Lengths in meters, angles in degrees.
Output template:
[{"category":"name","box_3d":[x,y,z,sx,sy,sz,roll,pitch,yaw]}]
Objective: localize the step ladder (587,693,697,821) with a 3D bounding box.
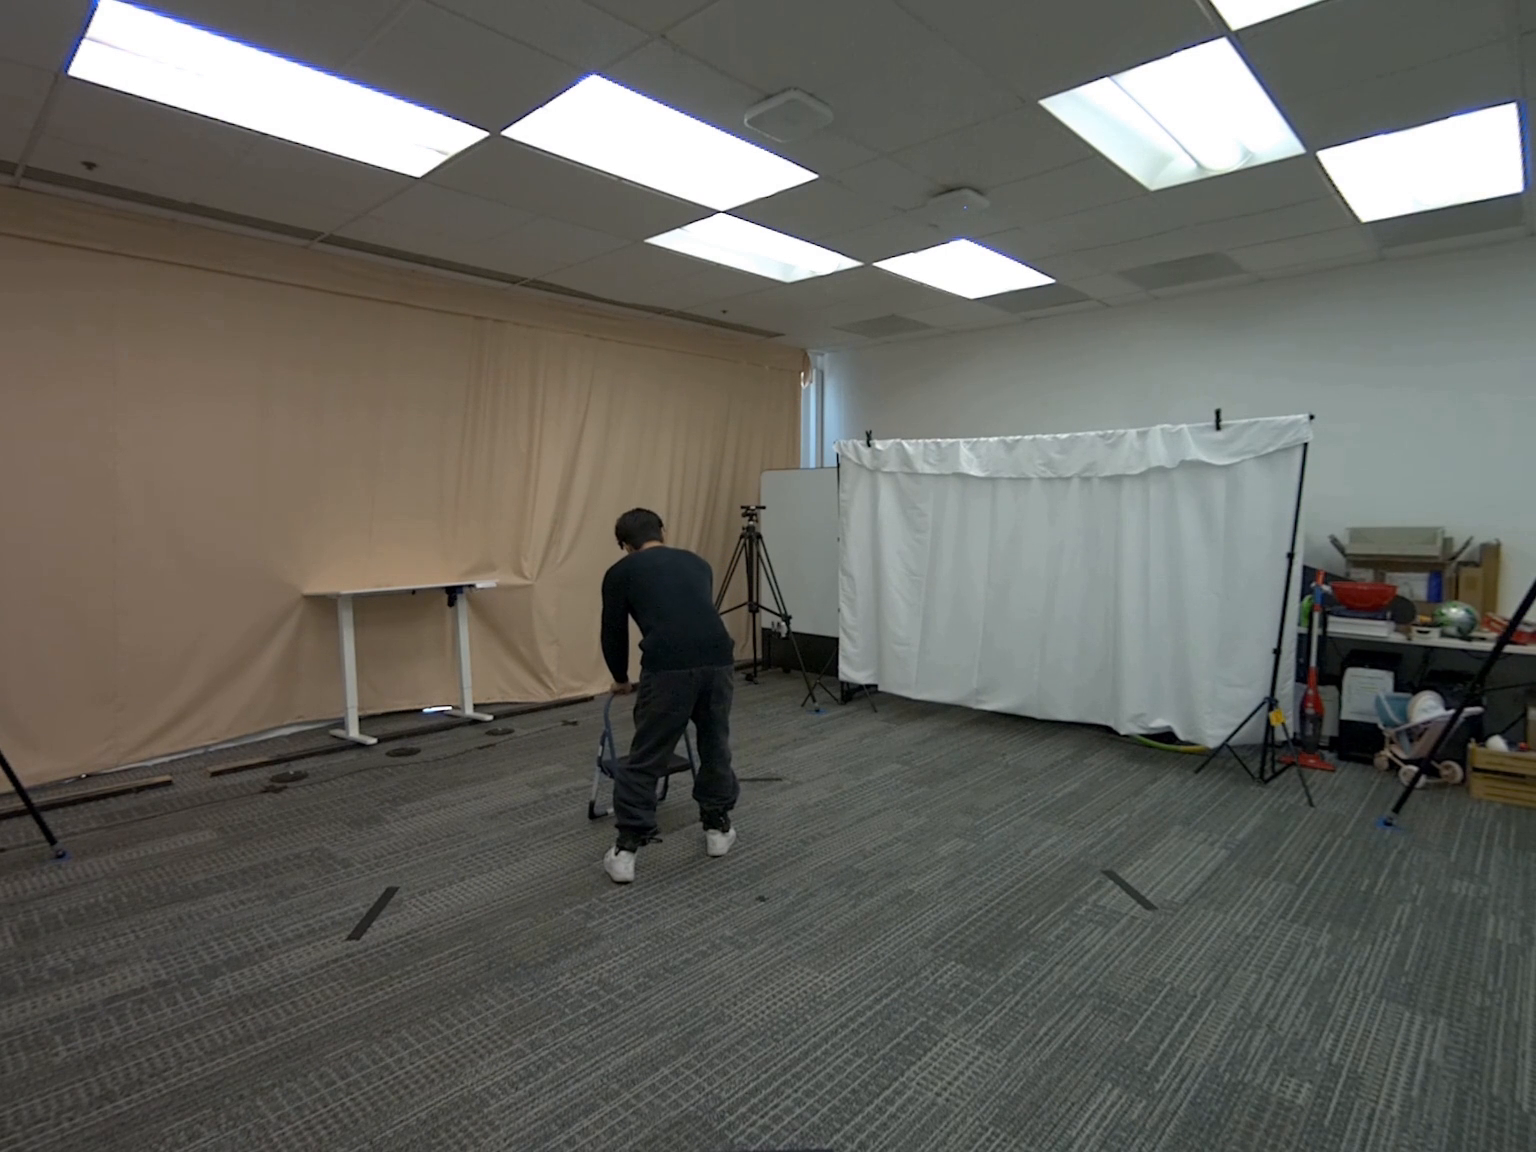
[{"category":"step ladder","box_3d":[-0.527,0.779,3.699,0.417,0.604,0.361,-2,6,-41]}]
